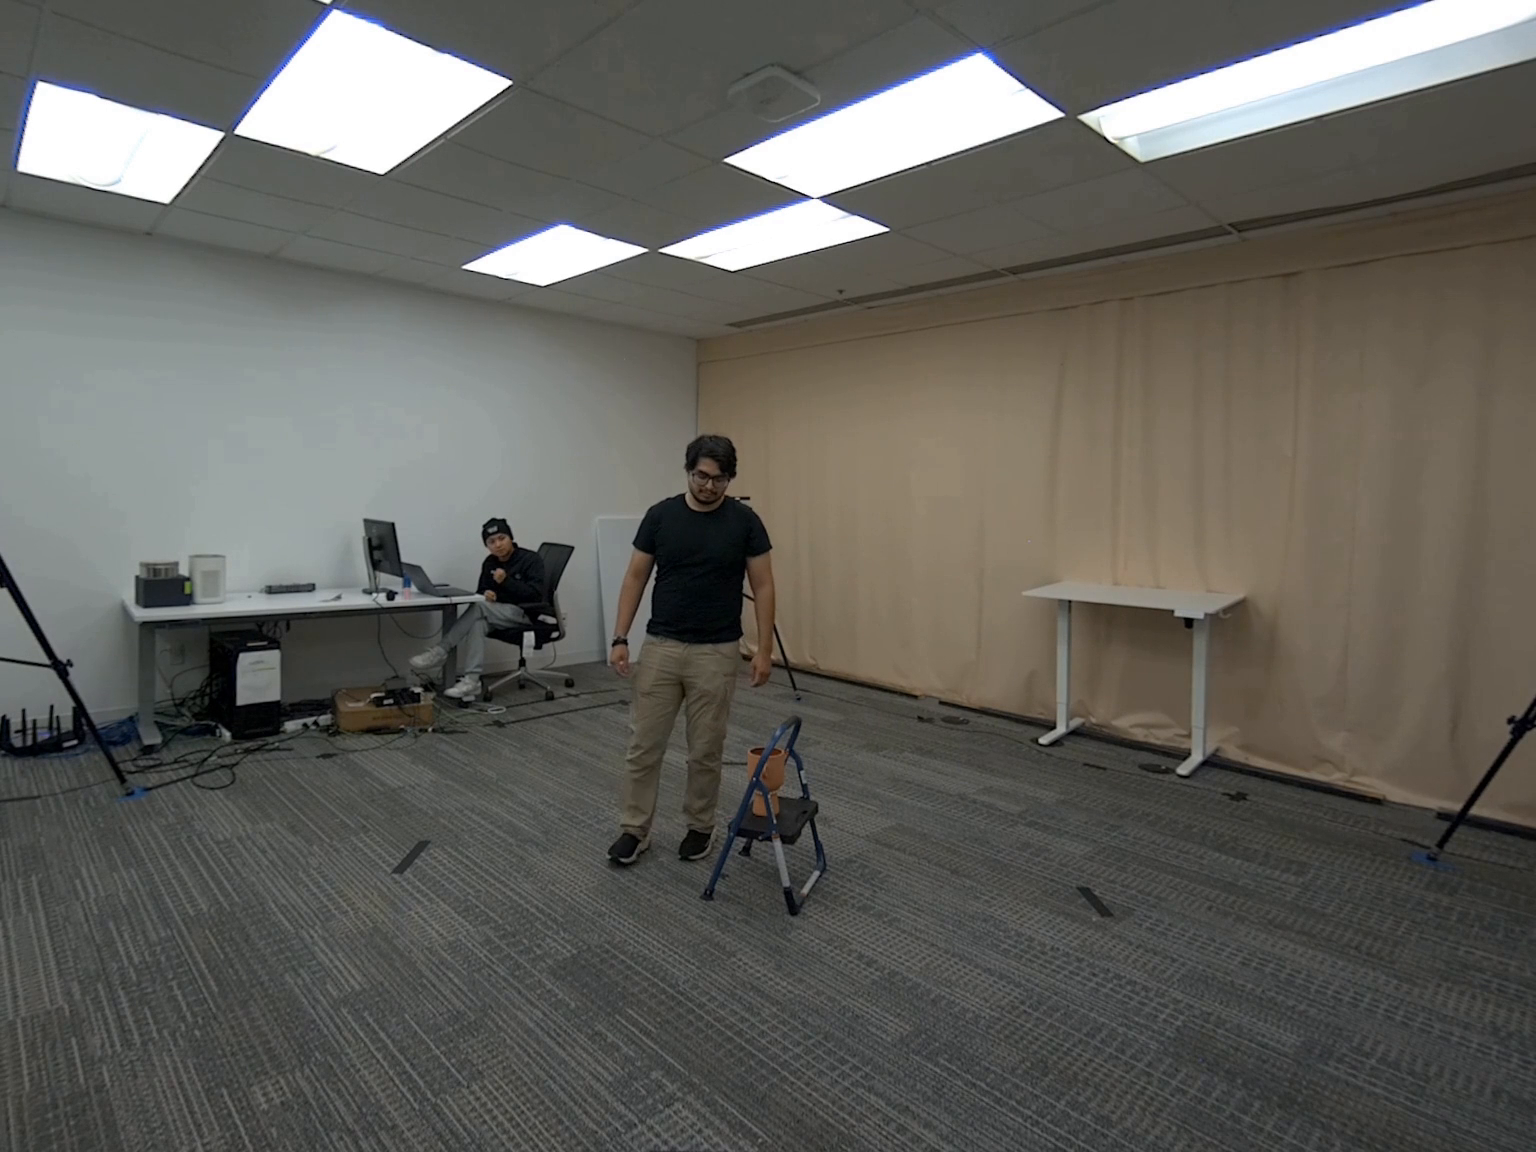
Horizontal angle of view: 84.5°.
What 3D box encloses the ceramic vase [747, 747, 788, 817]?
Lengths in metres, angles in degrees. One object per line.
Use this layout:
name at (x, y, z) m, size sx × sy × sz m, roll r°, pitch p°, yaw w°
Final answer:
ceramic vase at (-0.017, 0.744, 3.040) m, size 0.138 × 0.219 × 0.155 m, roll 3°, pitch 4°, yaw 45°
